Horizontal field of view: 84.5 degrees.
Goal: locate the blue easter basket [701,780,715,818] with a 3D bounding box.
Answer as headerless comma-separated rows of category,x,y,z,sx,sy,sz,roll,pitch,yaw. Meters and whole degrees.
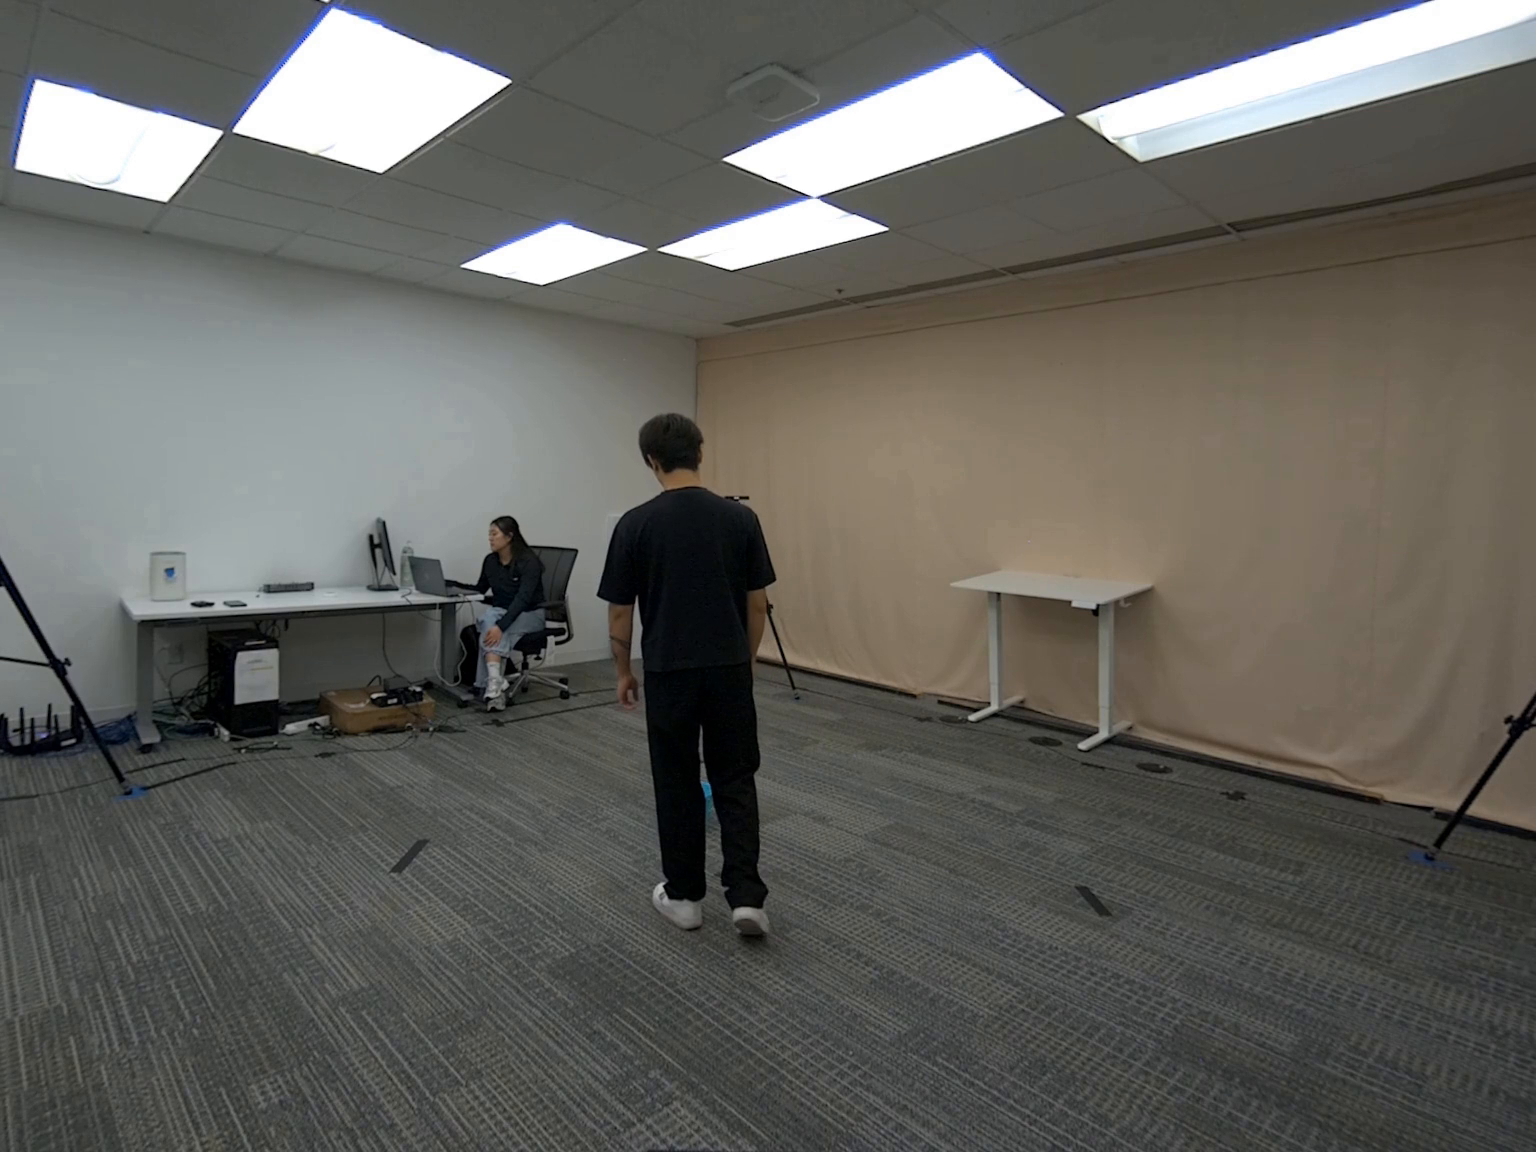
blue easter basket,-0.340,0.979,3.576,0.243,0.155,0.244,1,4,-1
